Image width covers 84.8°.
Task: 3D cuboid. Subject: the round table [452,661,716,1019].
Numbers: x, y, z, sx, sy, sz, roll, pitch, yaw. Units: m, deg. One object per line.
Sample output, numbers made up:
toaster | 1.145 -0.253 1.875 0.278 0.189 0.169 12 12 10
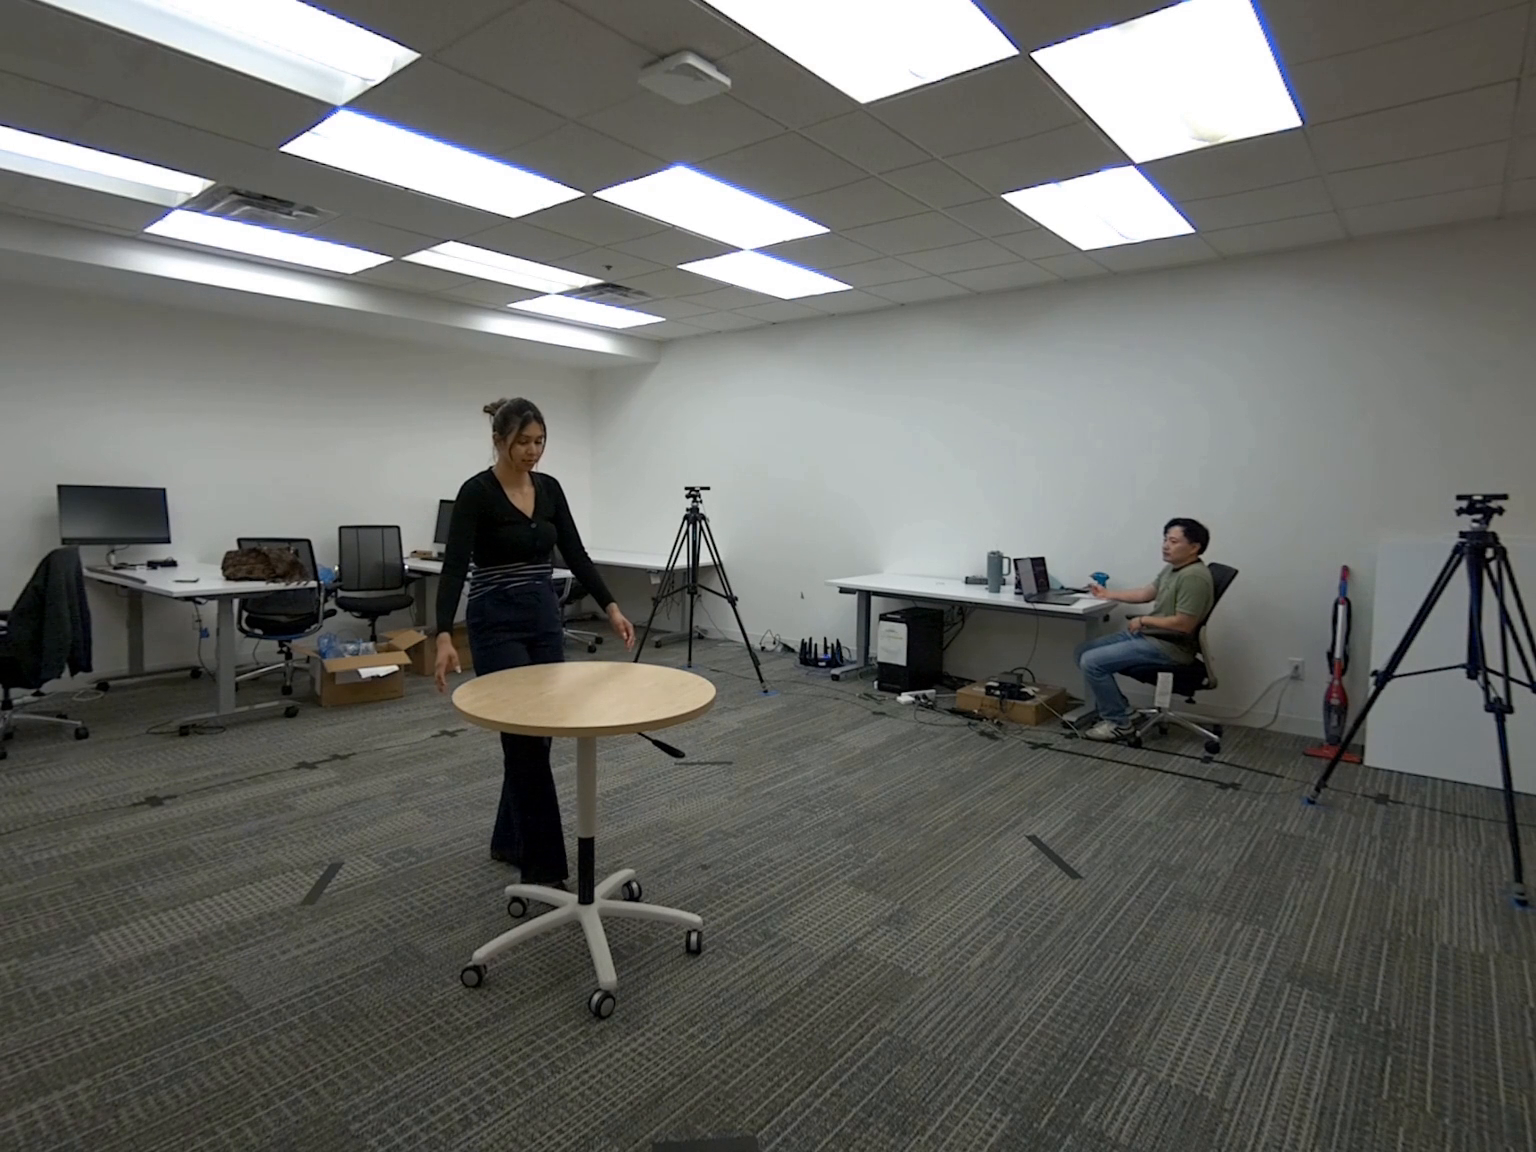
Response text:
round table | -0.553 0.727 2.543 0.763 0.791 0.768 1 5 -2
